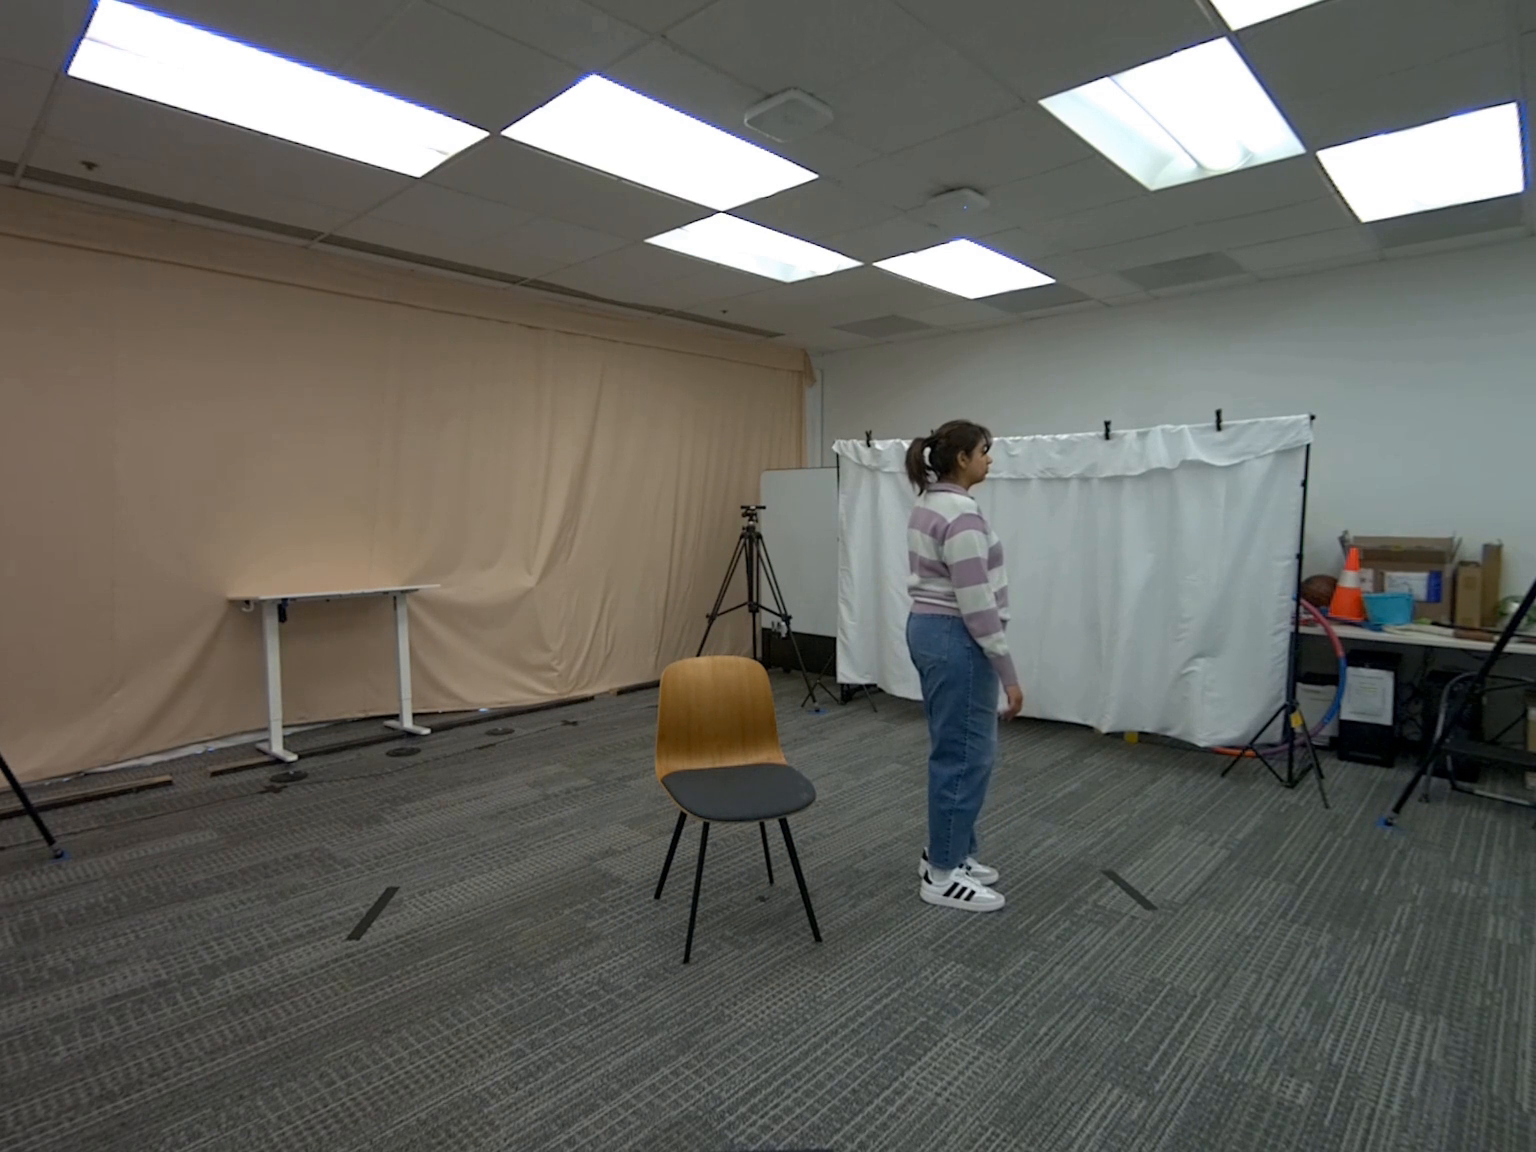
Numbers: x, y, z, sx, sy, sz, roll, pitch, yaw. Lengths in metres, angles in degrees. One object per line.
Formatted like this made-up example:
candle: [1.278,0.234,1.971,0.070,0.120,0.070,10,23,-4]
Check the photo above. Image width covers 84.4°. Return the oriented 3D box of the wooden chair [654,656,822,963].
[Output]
wooden chair: [-0.110,0.736,2.799,0.469,0.878,0.532,-1,-1,-18]
